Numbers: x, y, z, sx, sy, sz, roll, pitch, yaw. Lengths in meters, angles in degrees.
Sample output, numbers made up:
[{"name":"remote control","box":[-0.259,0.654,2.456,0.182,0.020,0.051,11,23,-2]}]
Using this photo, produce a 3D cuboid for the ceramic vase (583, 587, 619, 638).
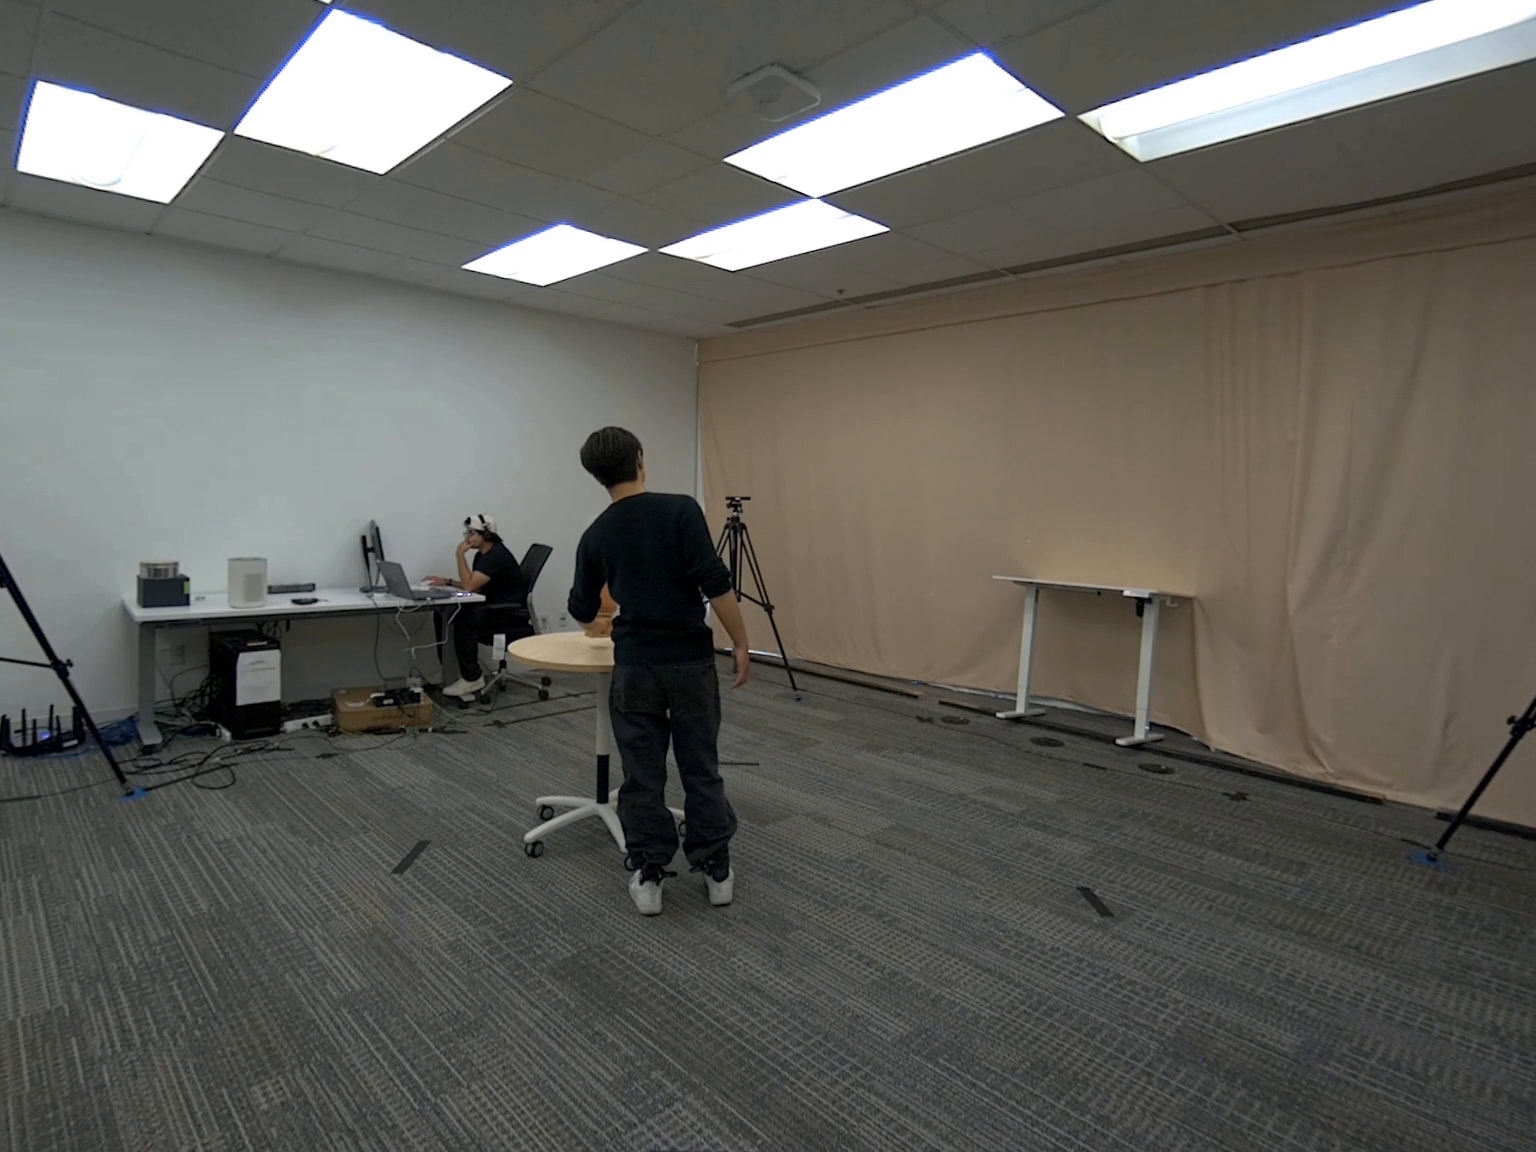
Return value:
[{"name":"ceramic vase","box":[-0.683,0.133,3.386,0.155,0.222,0.137,8,-16,-40]}]
